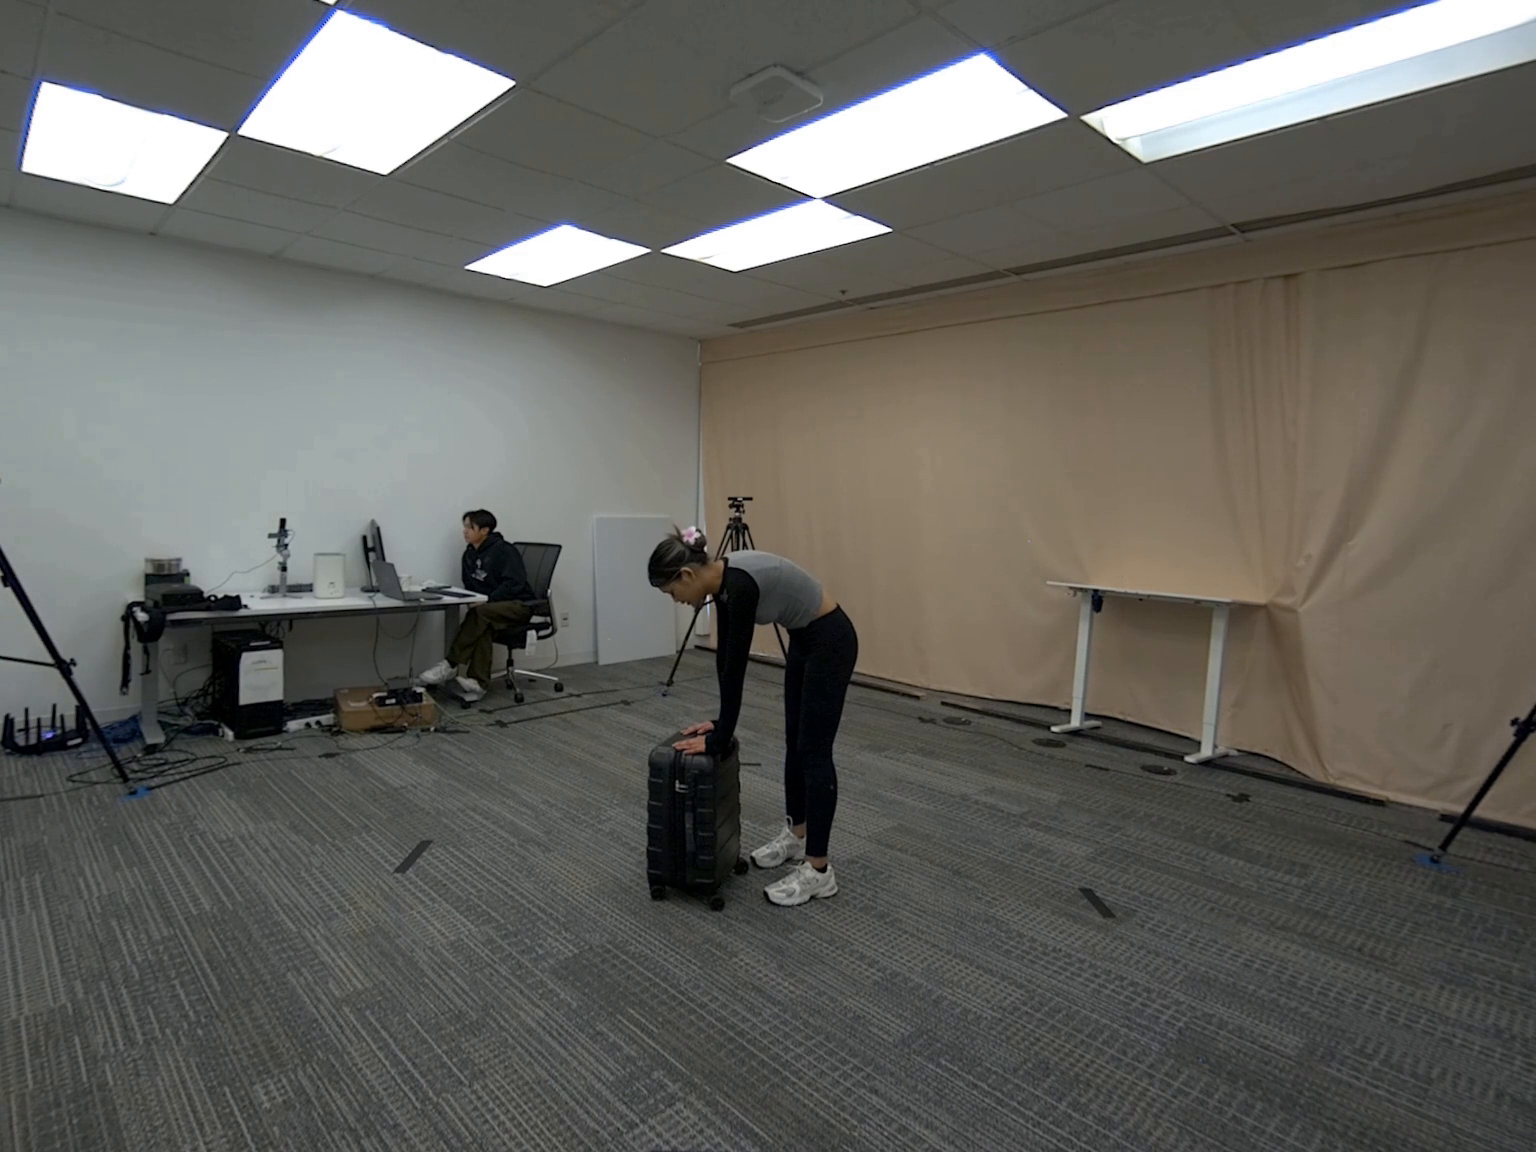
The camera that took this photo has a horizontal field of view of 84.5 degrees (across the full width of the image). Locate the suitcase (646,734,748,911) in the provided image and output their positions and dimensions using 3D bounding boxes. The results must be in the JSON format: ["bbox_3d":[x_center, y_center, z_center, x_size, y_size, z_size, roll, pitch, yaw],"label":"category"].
[{"bbox_3d":[-0.261,0.839,3.005,0.252,0.548,0.371,0,3,18],"label":"suitcase"}]
